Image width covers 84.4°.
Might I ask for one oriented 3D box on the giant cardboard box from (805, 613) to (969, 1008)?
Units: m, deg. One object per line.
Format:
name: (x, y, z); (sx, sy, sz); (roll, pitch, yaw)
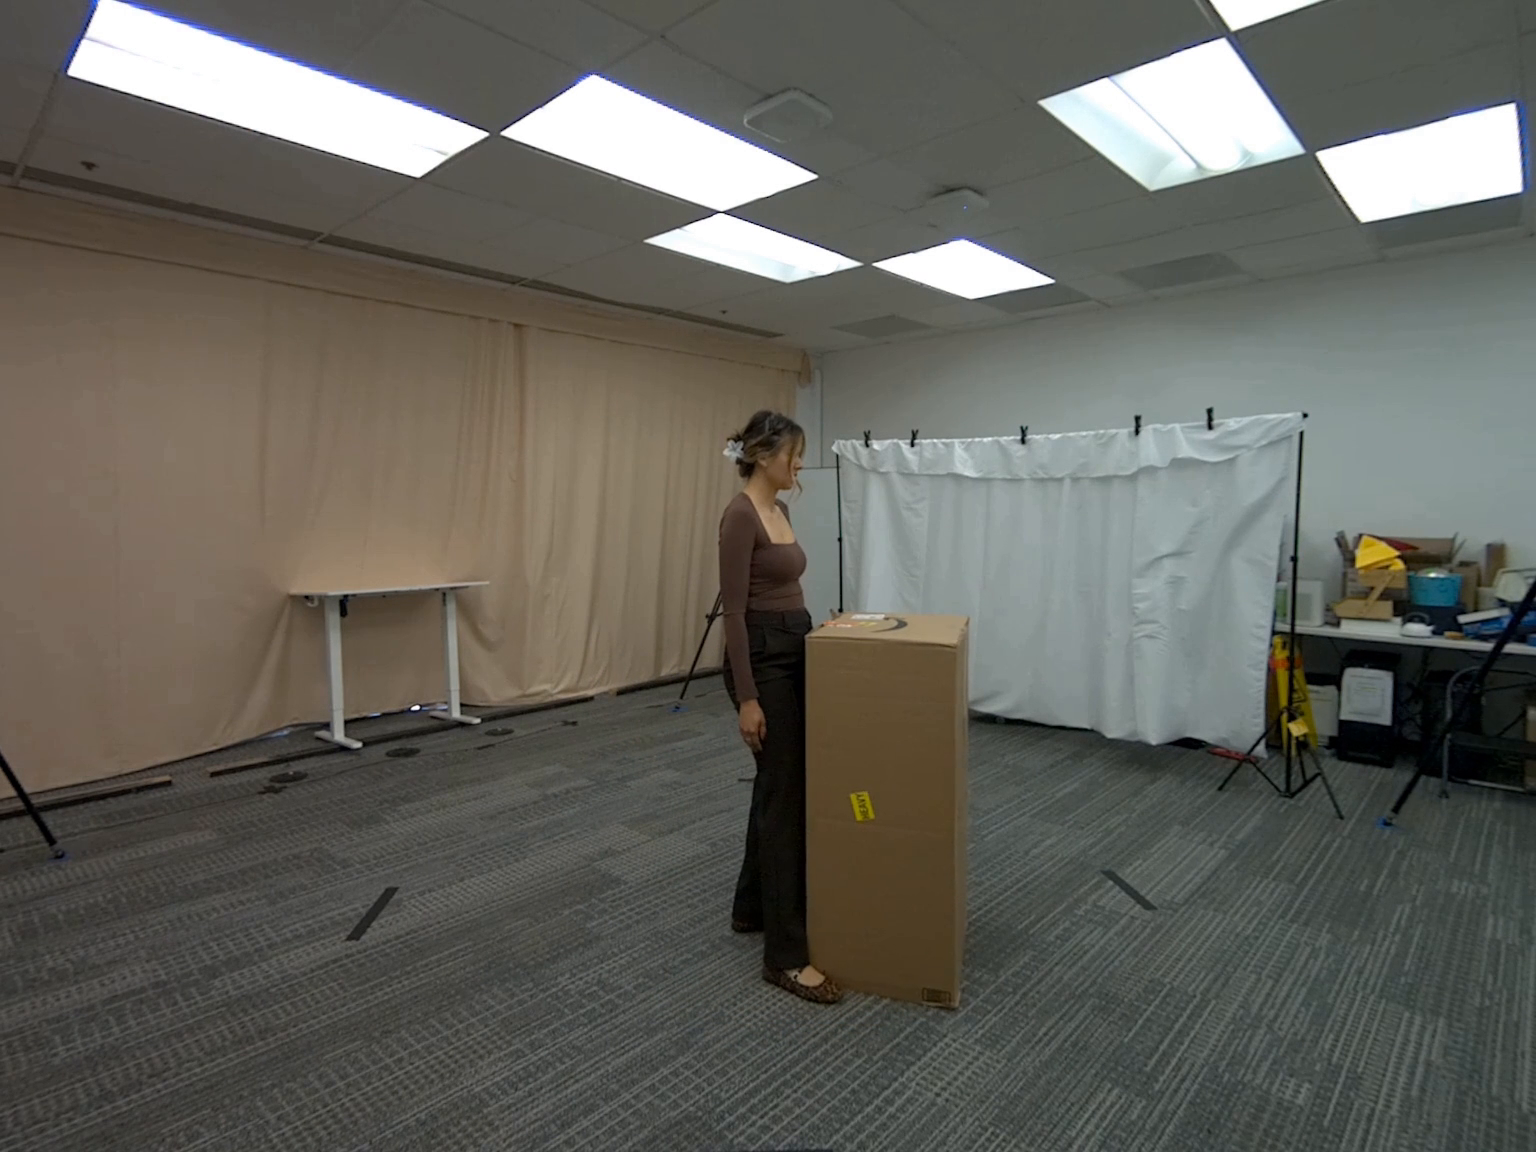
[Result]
giant cardboard box: (0.399, 0.662, 2.634); (0.456, 1.025, 0.573); (0, 4, 18)
